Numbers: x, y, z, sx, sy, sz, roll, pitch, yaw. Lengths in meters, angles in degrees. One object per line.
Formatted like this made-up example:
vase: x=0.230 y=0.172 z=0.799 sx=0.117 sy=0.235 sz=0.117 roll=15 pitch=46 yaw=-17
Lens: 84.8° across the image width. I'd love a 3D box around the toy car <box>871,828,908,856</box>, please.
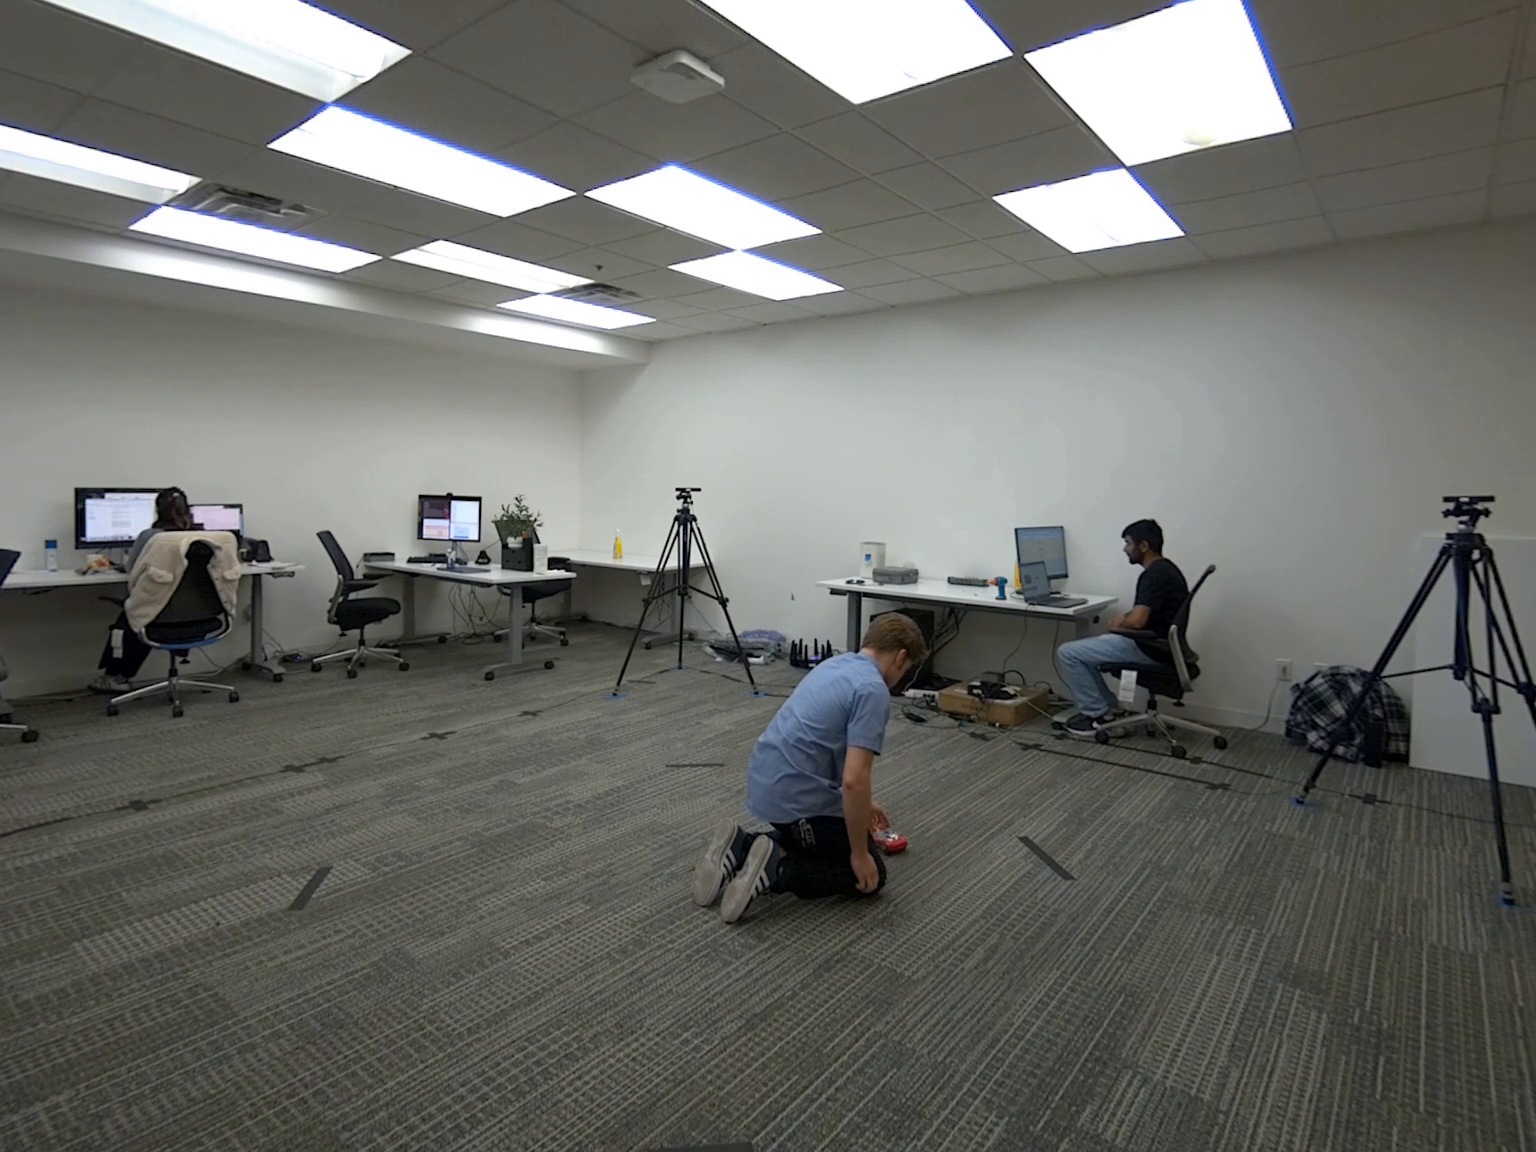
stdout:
toy car: x=0.435 y=1.023 z=3.374 sx=0.126 sy=0.082 sz=0.264 roll=-1 pitch=15 yaw=-35
